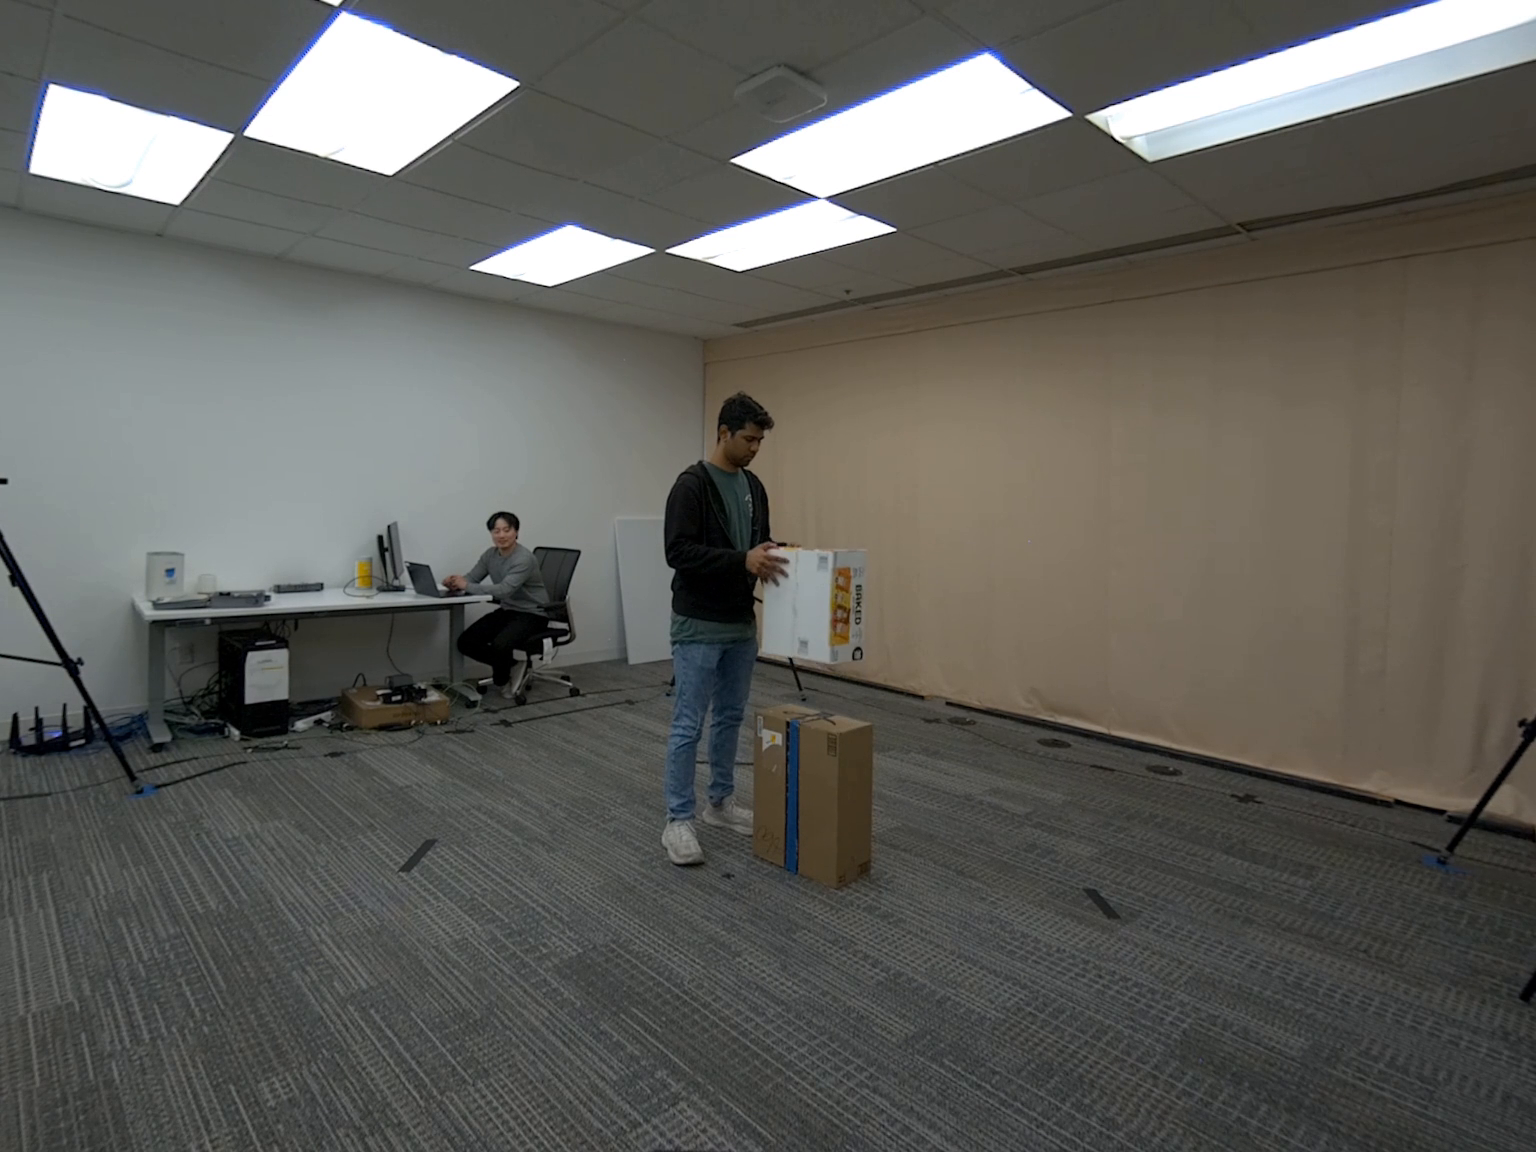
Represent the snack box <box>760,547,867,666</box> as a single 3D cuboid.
[{"bbox_3d":[0.160,0.102,3.154,0.349,0.404,0.201,4,4,45],"label":"snack box"}]
